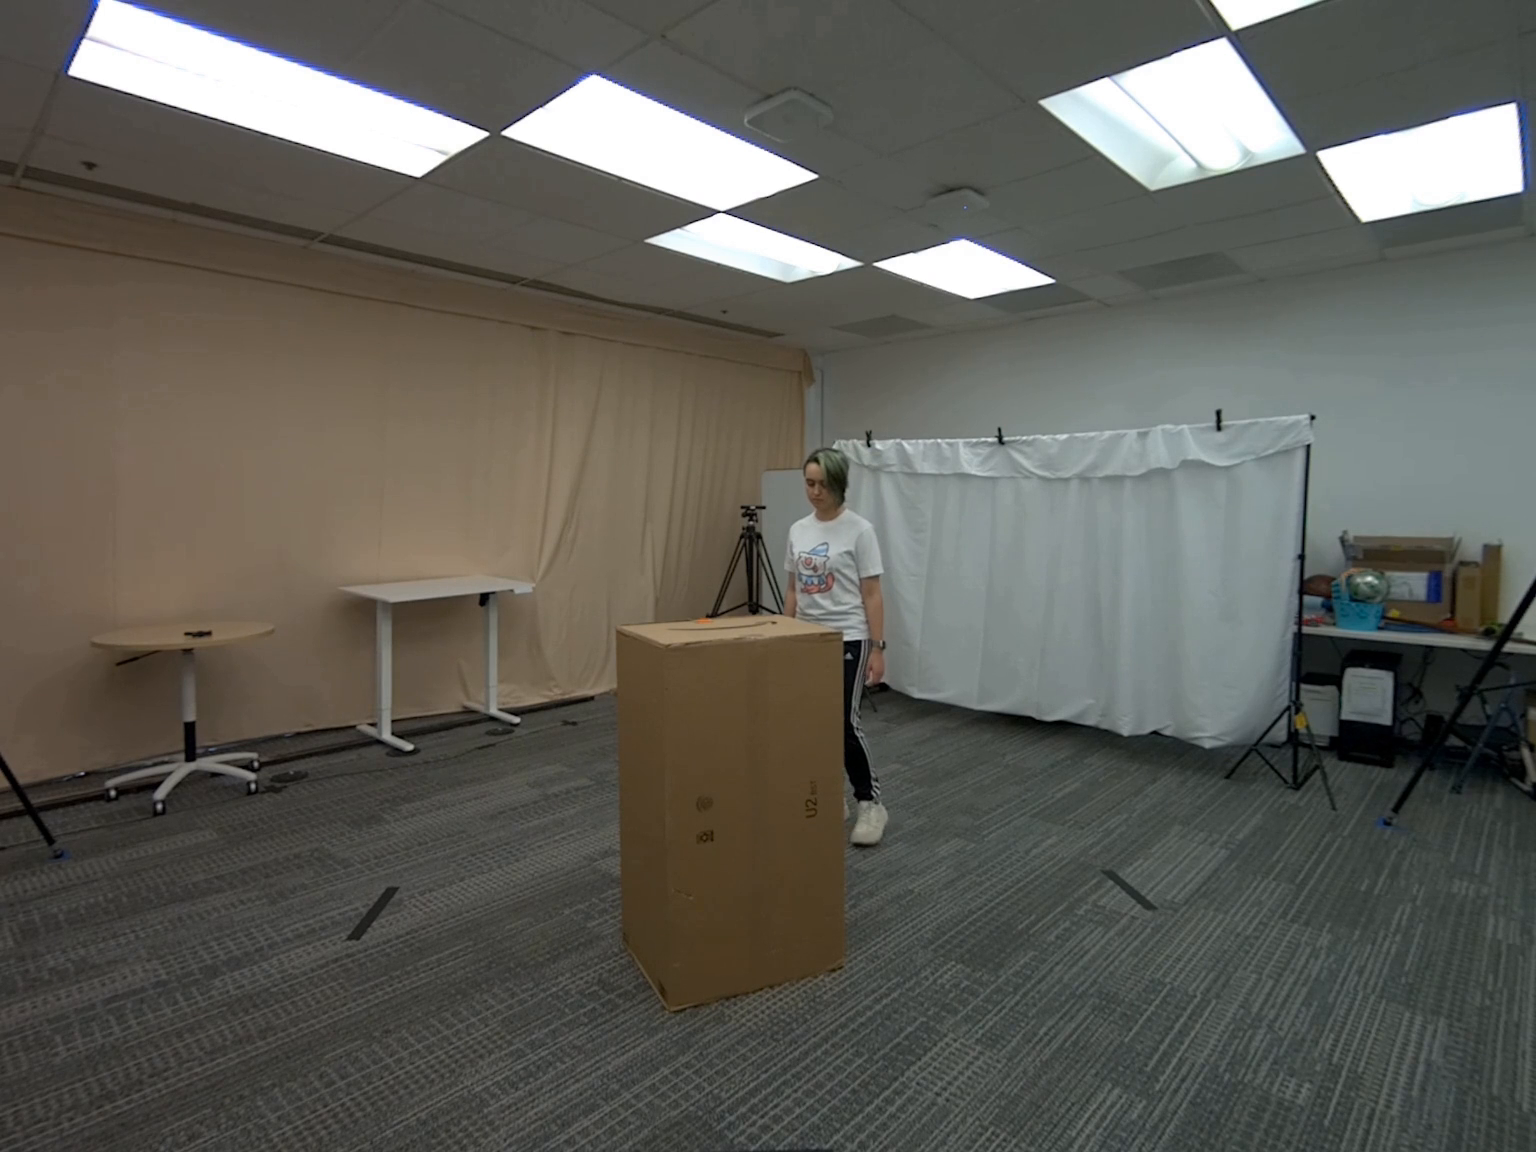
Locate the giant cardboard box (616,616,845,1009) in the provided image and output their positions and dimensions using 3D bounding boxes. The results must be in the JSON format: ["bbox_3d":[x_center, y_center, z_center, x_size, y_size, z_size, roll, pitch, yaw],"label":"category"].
[{"bbox_3d":[-0.122,0.671,2.587,0.569,1.024,0.459,-2,4,-27],"label":"giant cardboard box"}]
